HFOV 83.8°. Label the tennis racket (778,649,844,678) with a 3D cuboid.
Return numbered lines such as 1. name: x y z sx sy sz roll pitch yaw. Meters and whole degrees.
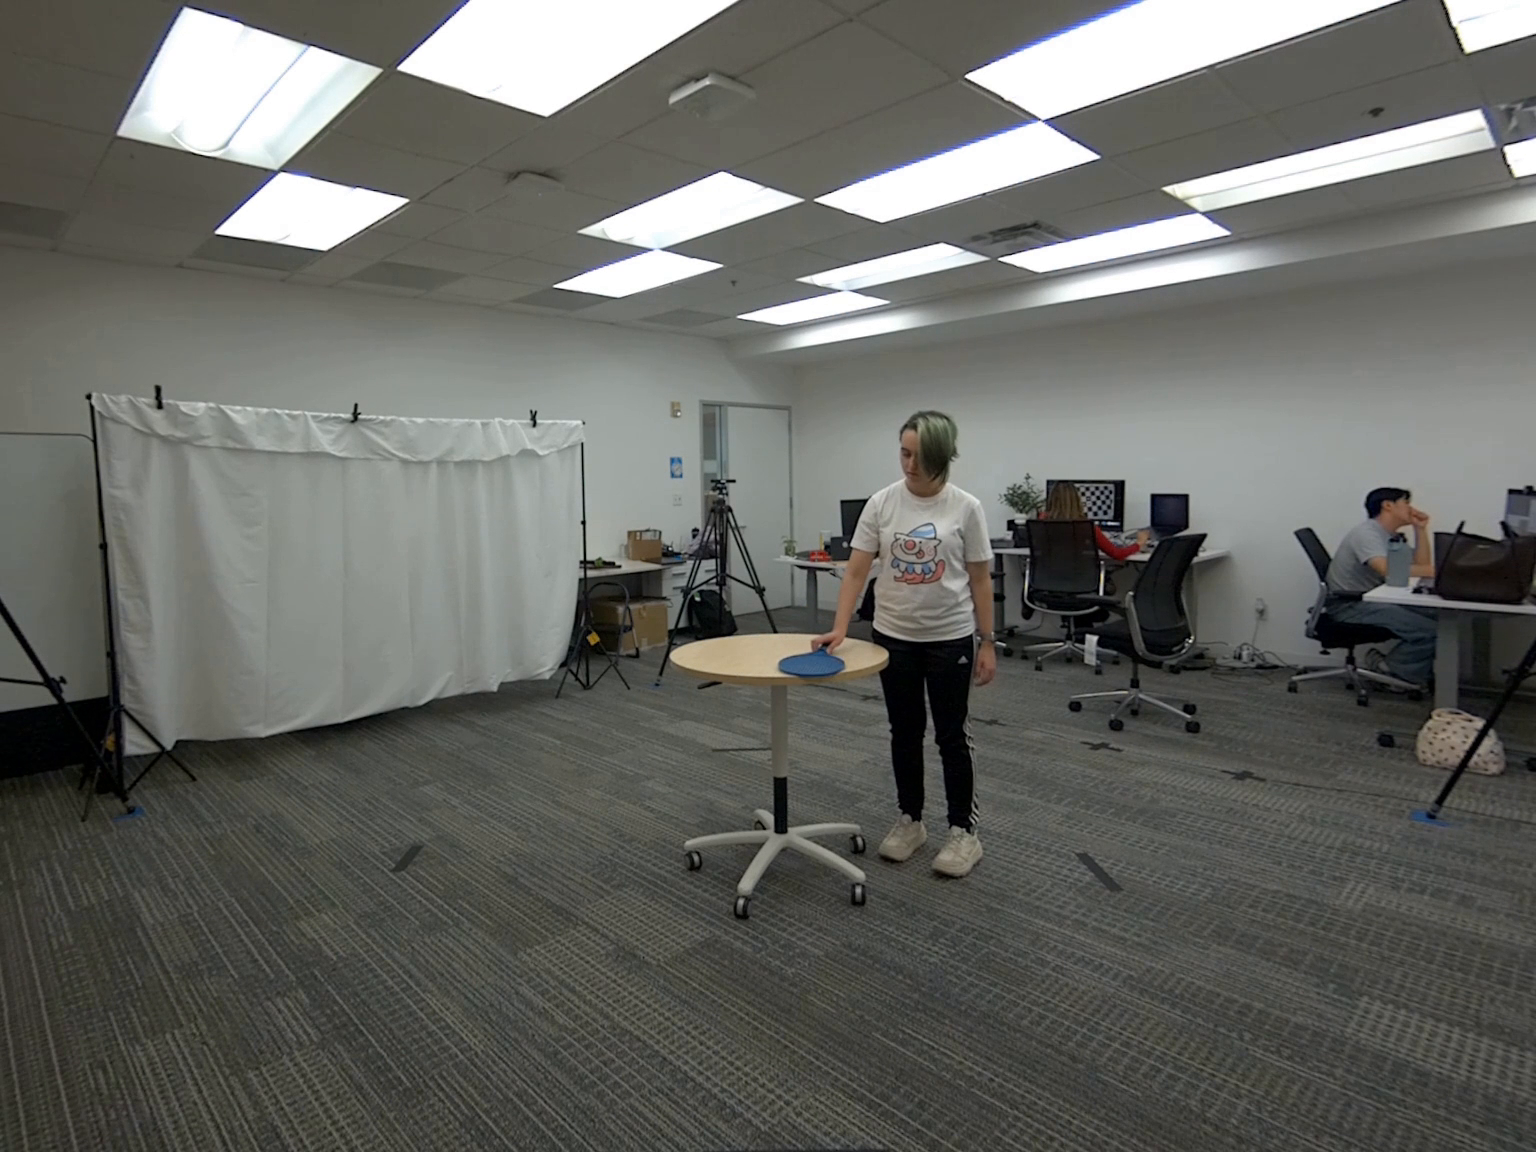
1. tennis racket: 0.164 0.277 2.829 0.216 0.031 0.430 1 8 12
